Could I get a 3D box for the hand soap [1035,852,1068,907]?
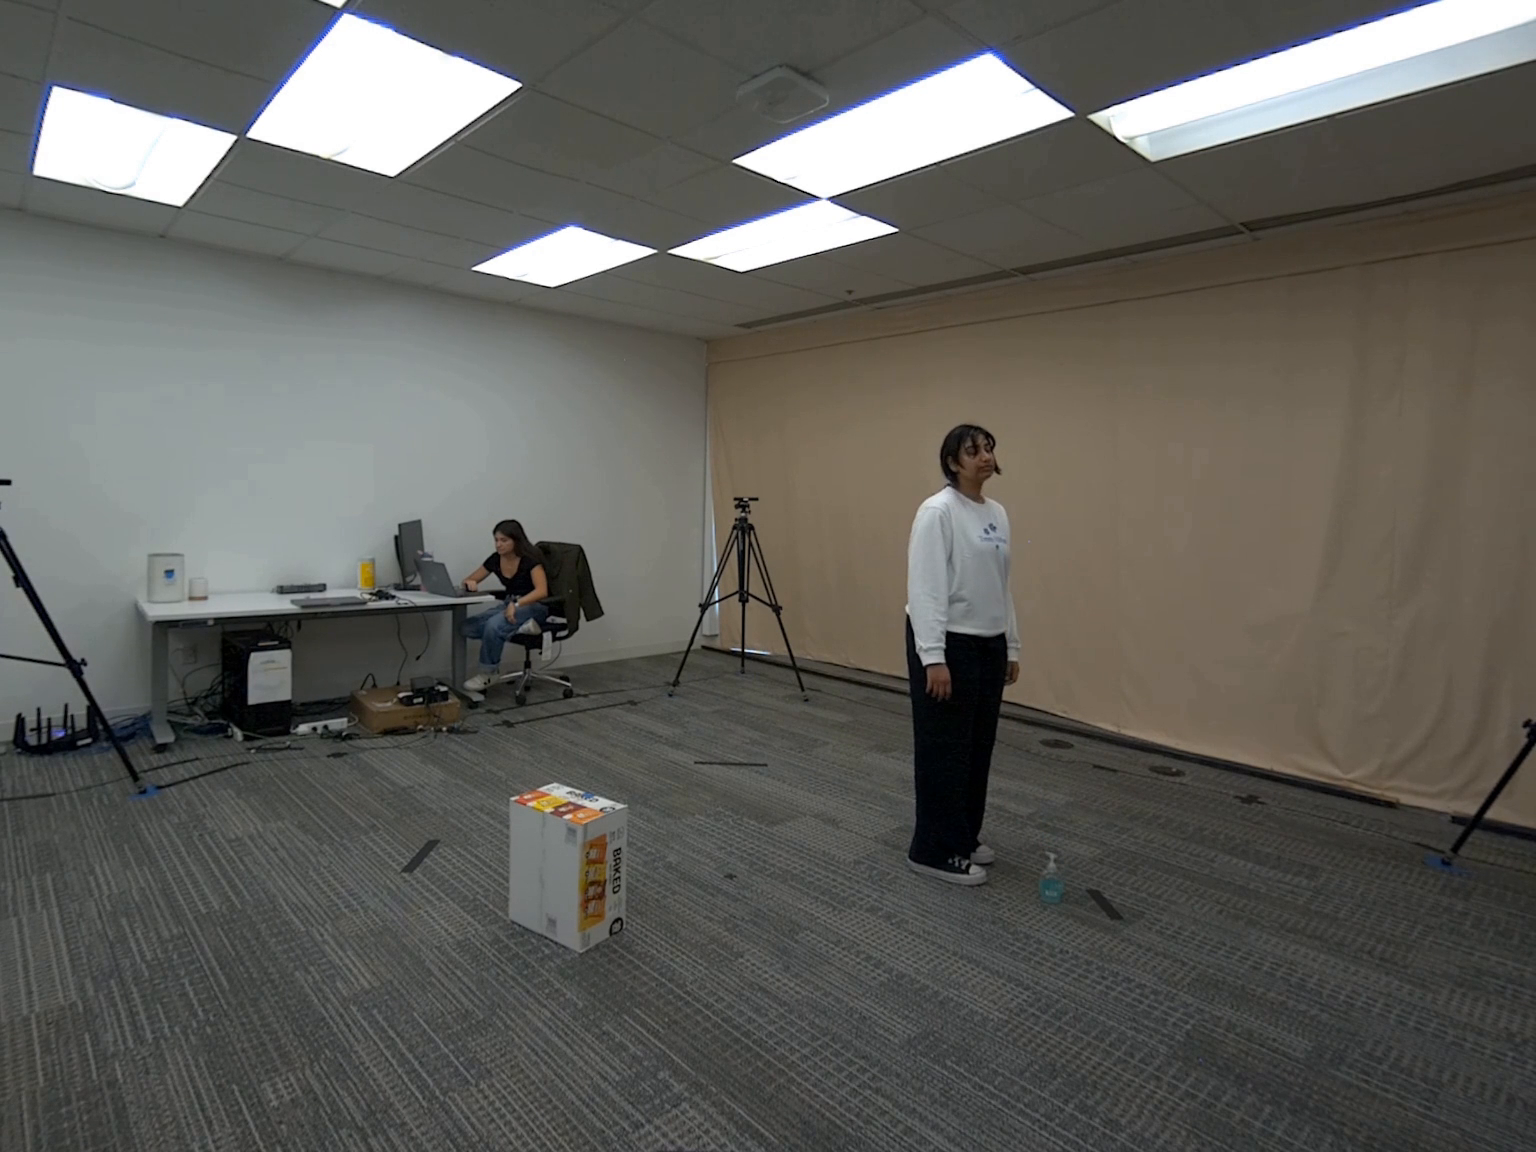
[{"bbox_3d":[0.995,1.065,2.975,0.085,0.167,0.043,3,7,7],"label":"hand soap"}]
